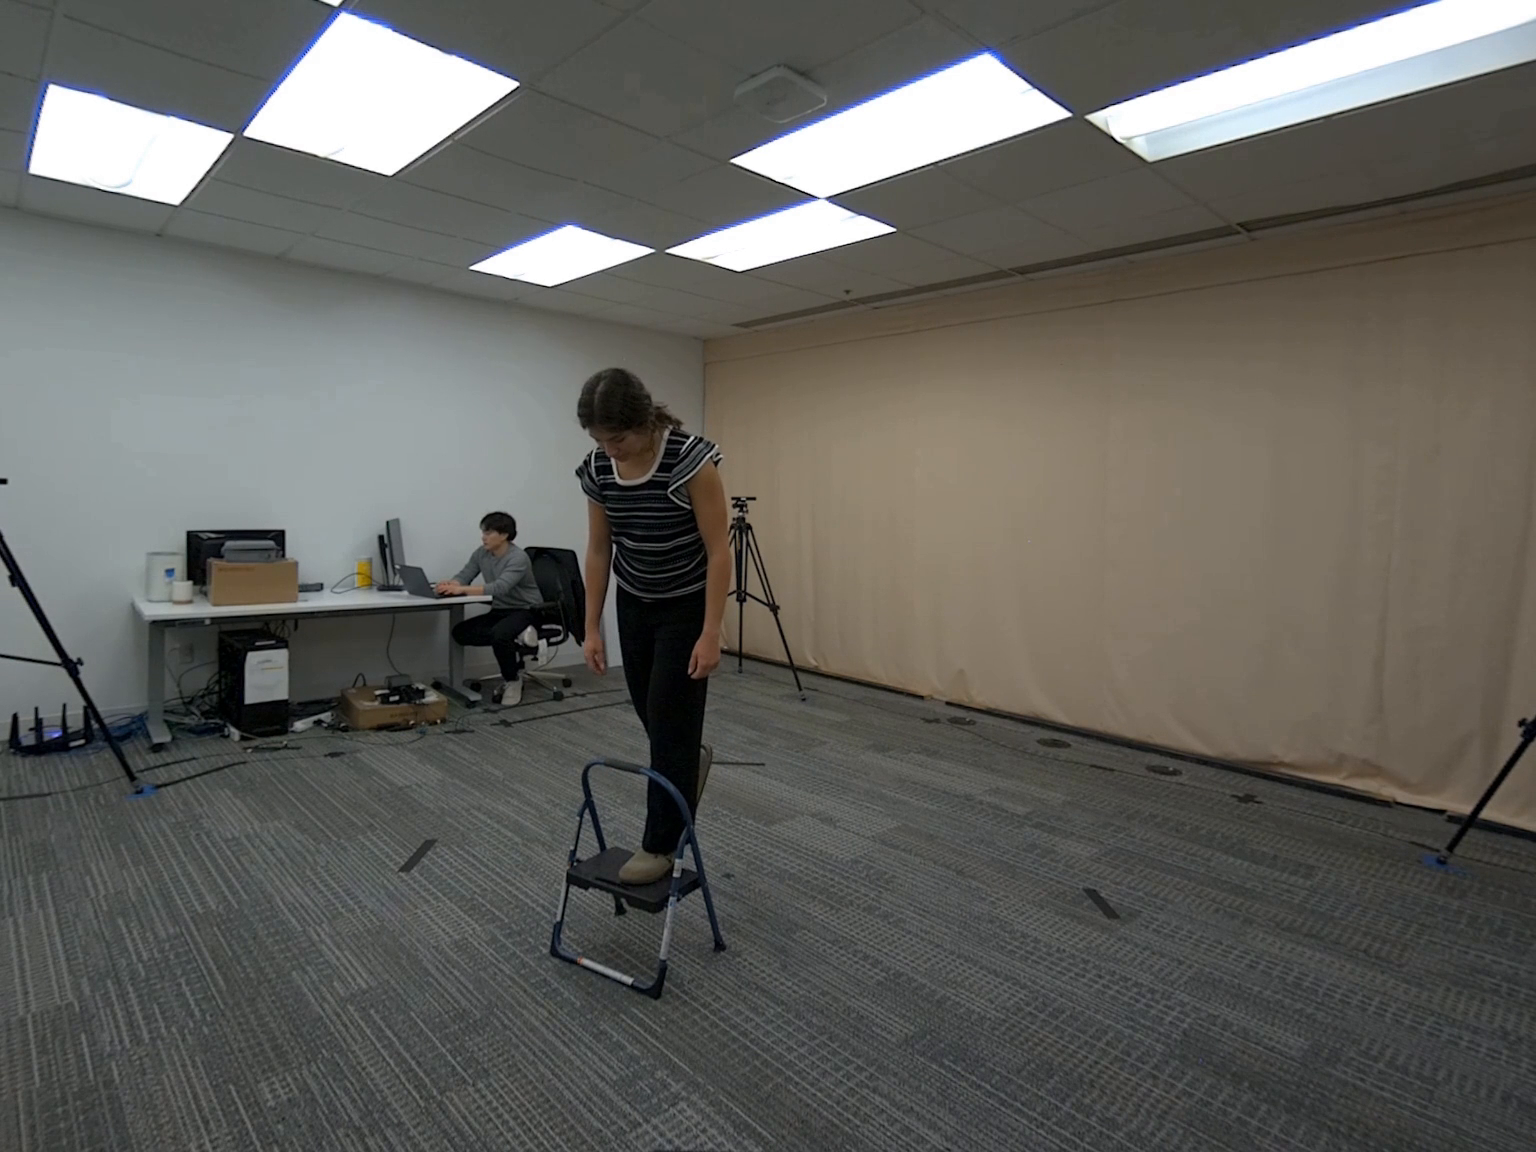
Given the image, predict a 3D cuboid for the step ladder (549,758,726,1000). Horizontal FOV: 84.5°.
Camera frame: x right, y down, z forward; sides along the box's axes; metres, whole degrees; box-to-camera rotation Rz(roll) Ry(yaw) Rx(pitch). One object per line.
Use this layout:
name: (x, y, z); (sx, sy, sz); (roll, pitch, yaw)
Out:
step ladder: (-0.400, 0.851, 2.558); (0.440, 0.605, 0.342); (3, 4, 31)
